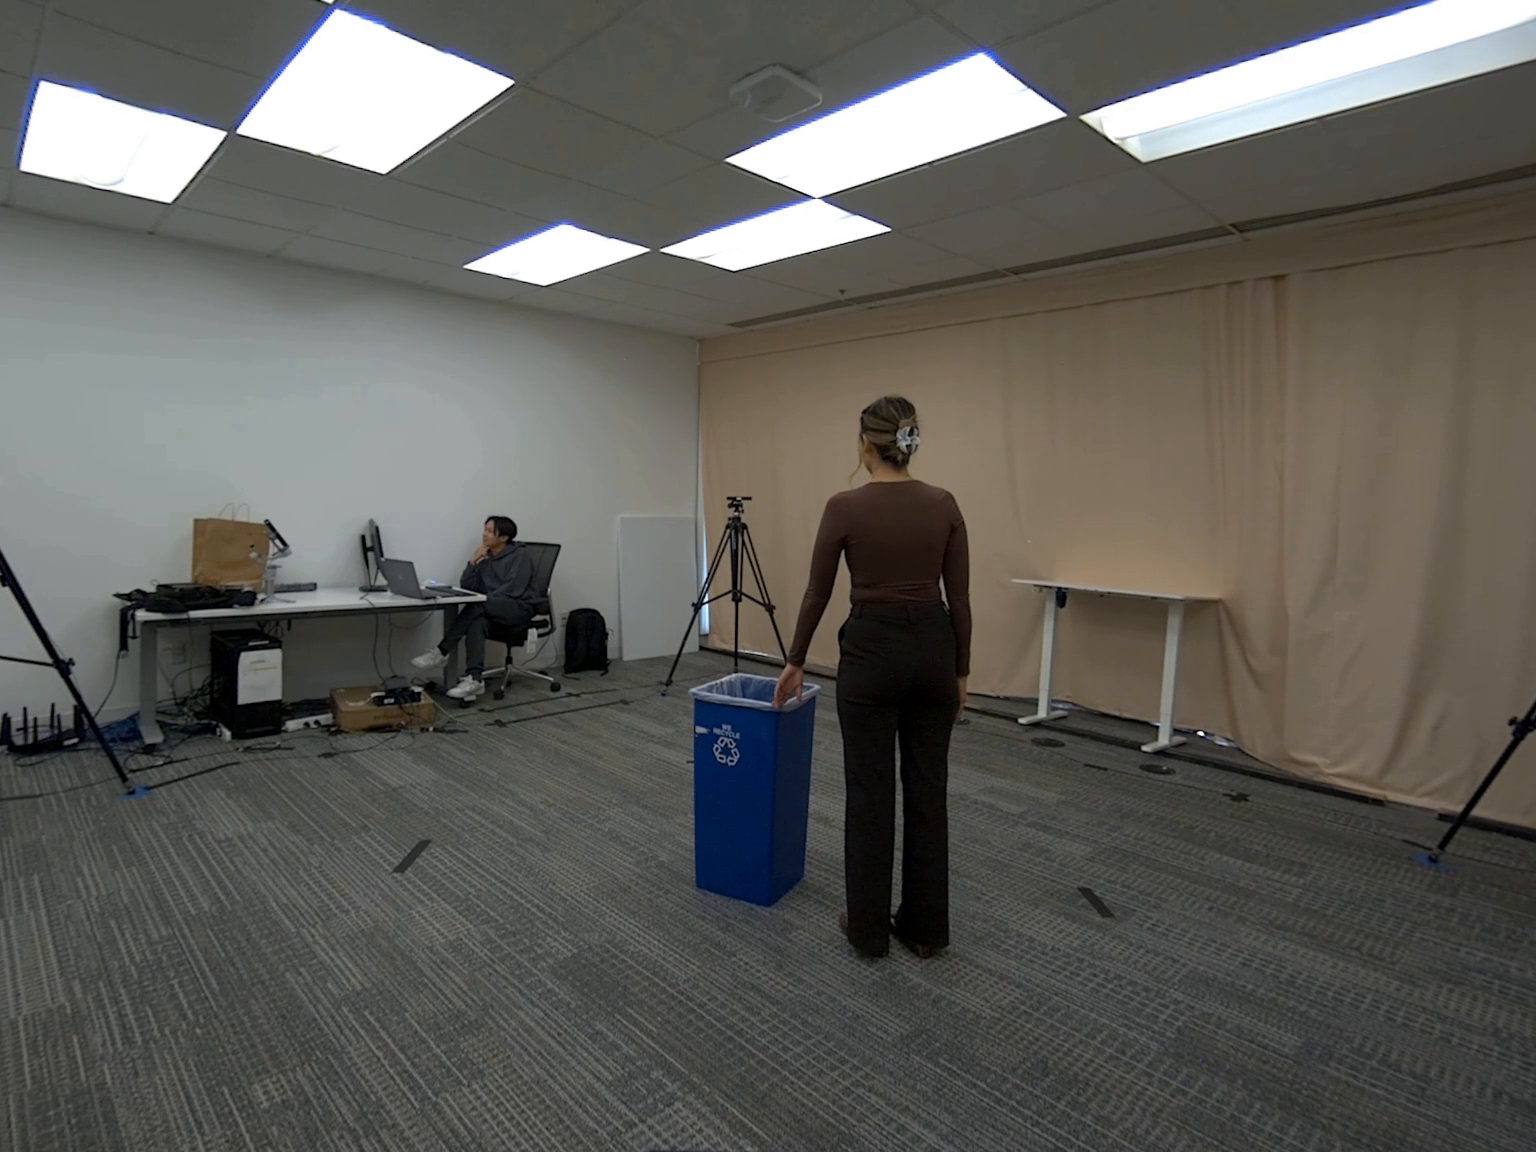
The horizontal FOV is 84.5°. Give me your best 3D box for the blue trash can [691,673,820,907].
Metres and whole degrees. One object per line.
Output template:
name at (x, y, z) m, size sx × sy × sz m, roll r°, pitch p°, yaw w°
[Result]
blue trash can at (-0.054, 0.755, 3.044) m, size 0.382 × 0.712 × 0.371 m, roll 3°, pitch 4°, yaw 28°
